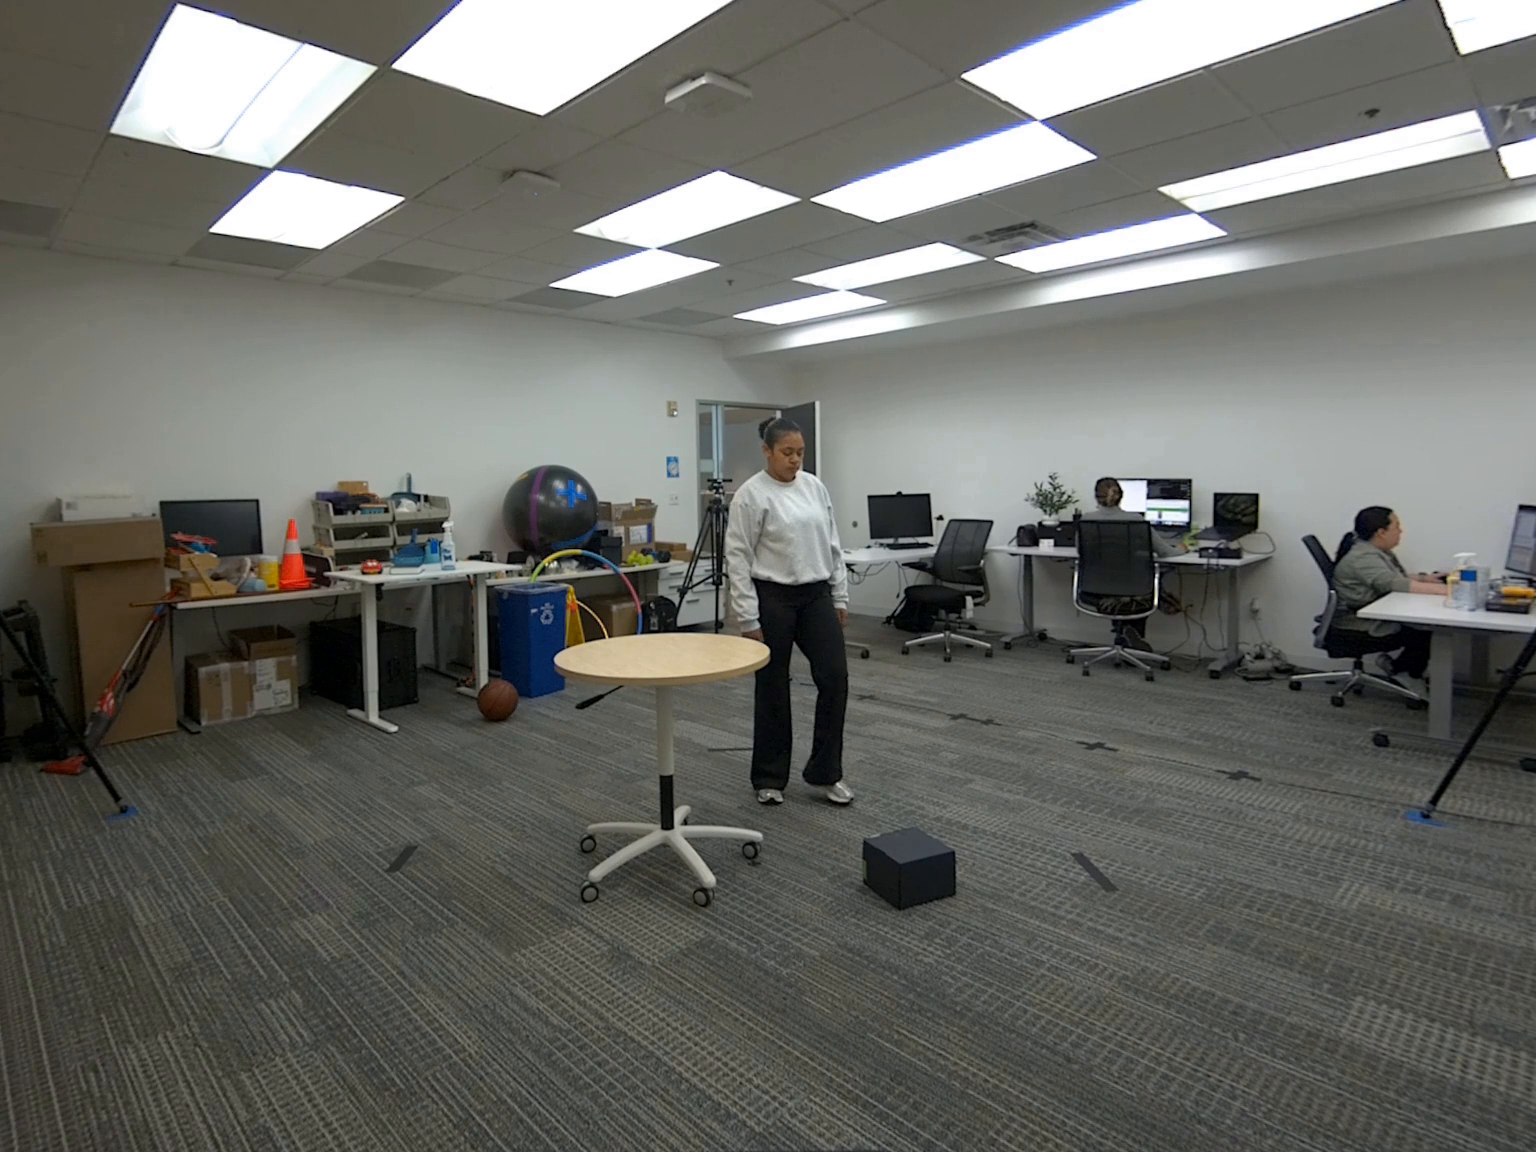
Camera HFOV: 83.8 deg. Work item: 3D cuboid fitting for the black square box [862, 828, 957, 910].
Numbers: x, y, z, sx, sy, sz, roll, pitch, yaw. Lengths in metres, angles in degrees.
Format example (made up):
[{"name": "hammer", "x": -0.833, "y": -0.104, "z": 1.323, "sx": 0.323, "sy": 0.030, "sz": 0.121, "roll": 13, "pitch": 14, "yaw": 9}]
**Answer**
[{"name": "black square box", "x": 0.476, "y": 0.982, "z": 2.881, "sx": 0.223, "sy": 0.155, "sz": 0.223, "roll": -4, "pitch": 7, "yaw": -26}]
